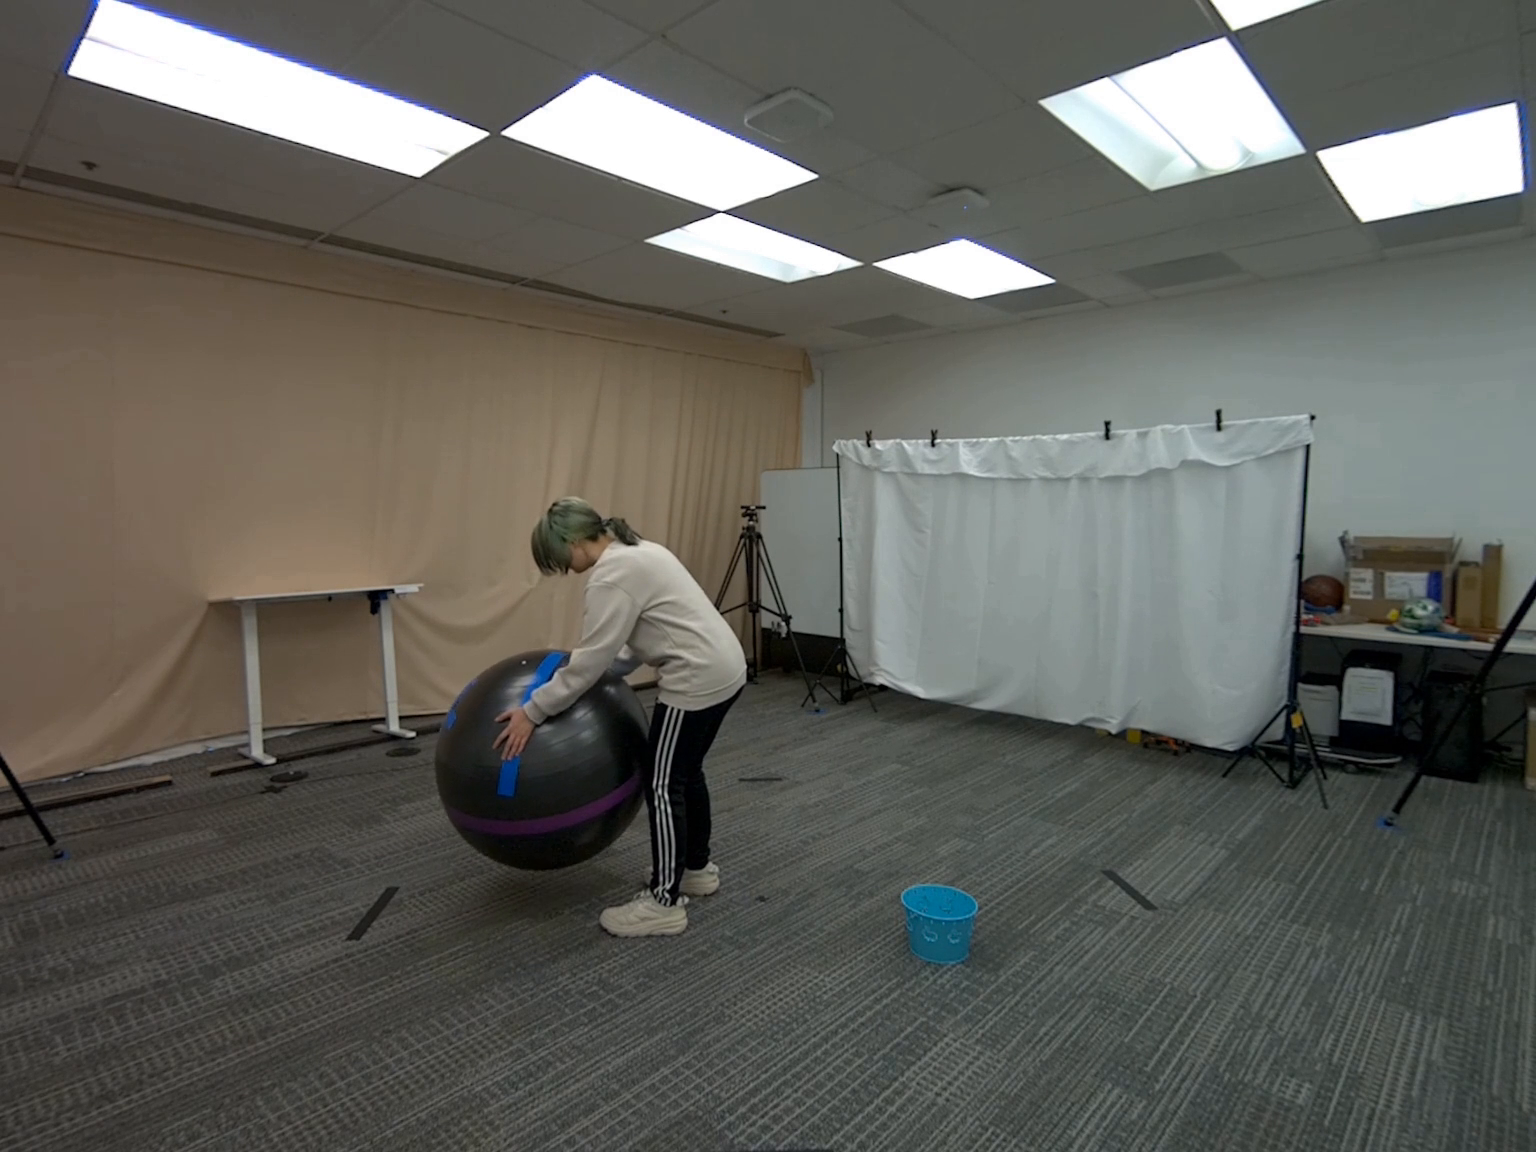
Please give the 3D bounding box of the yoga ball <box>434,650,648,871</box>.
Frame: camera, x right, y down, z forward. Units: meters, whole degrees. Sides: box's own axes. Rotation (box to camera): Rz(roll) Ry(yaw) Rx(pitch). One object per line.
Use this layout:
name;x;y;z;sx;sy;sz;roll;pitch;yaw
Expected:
yoga ball;-0.790;0.643;2.995;0.757;0.756;0.760;0;4;-2
